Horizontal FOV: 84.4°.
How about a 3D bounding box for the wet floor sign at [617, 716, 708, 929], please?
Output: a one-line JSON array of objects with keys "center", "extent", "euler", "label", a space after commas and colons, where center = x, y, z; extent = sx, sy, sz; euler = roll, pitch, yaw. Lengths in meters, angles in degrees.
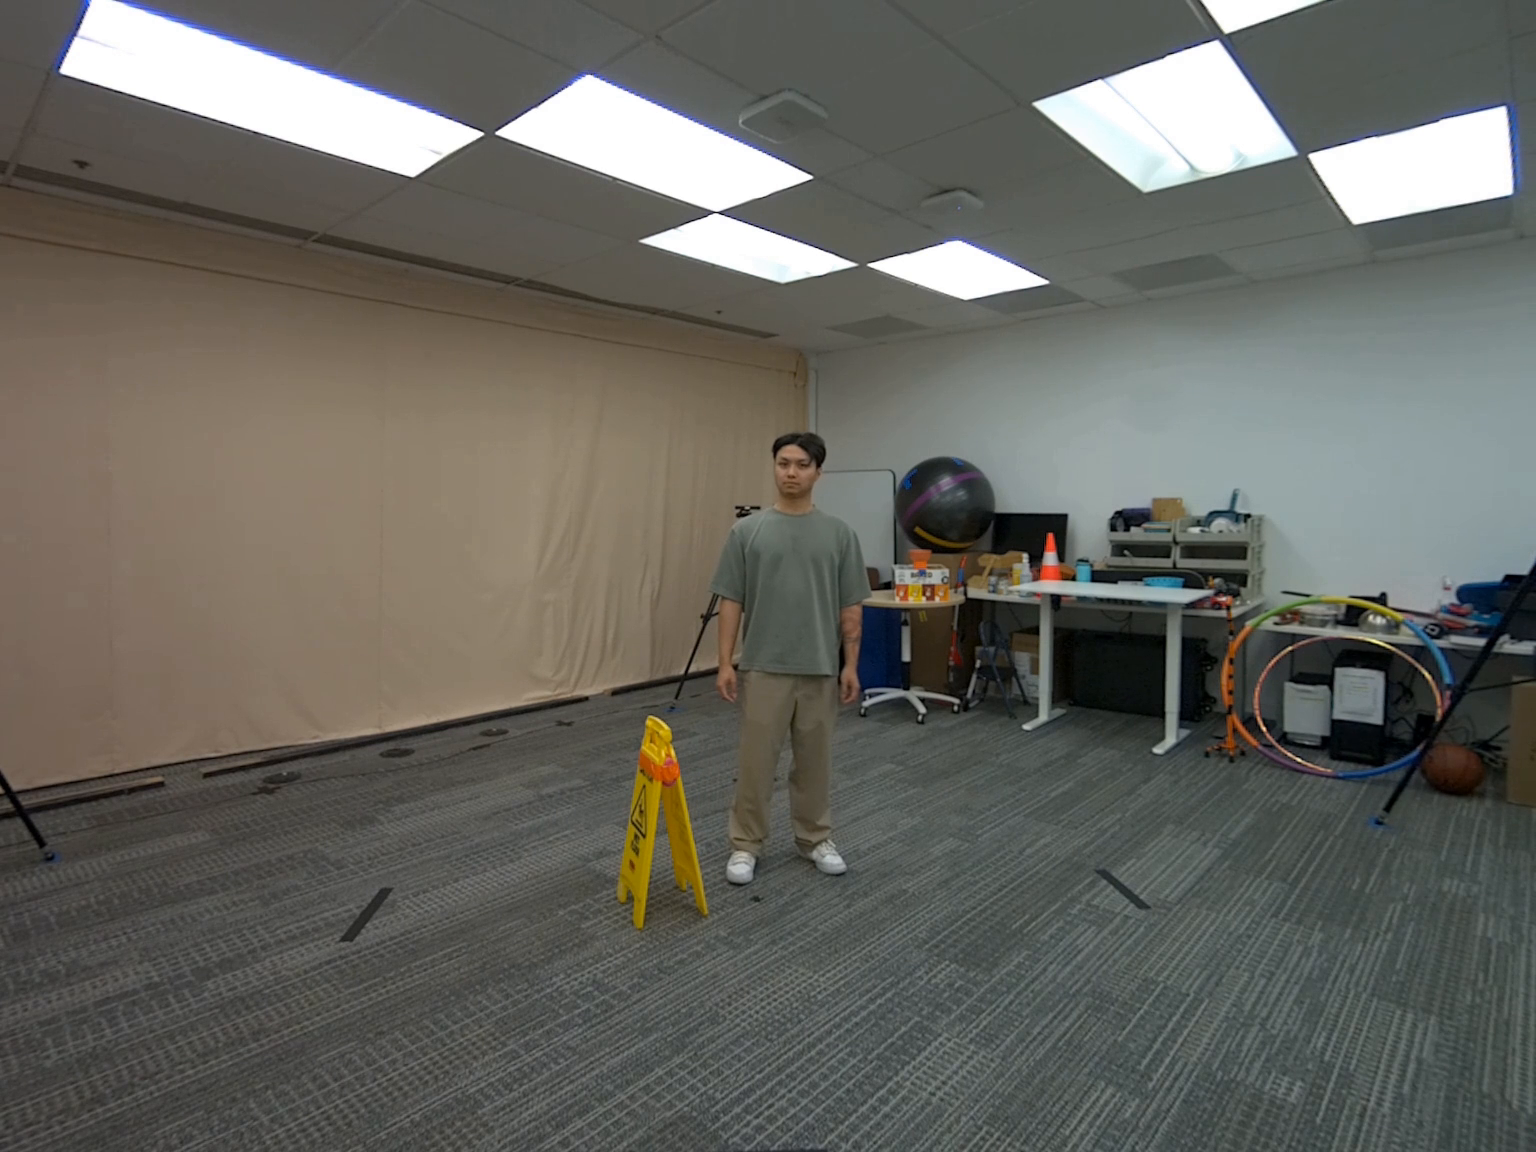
[{"center": [-0.373, 0.824, 2.920], "extent": [0.283, 0.645, 0.289], "euler": [-2, 4, -24], "label": "wet floor sign"}]
